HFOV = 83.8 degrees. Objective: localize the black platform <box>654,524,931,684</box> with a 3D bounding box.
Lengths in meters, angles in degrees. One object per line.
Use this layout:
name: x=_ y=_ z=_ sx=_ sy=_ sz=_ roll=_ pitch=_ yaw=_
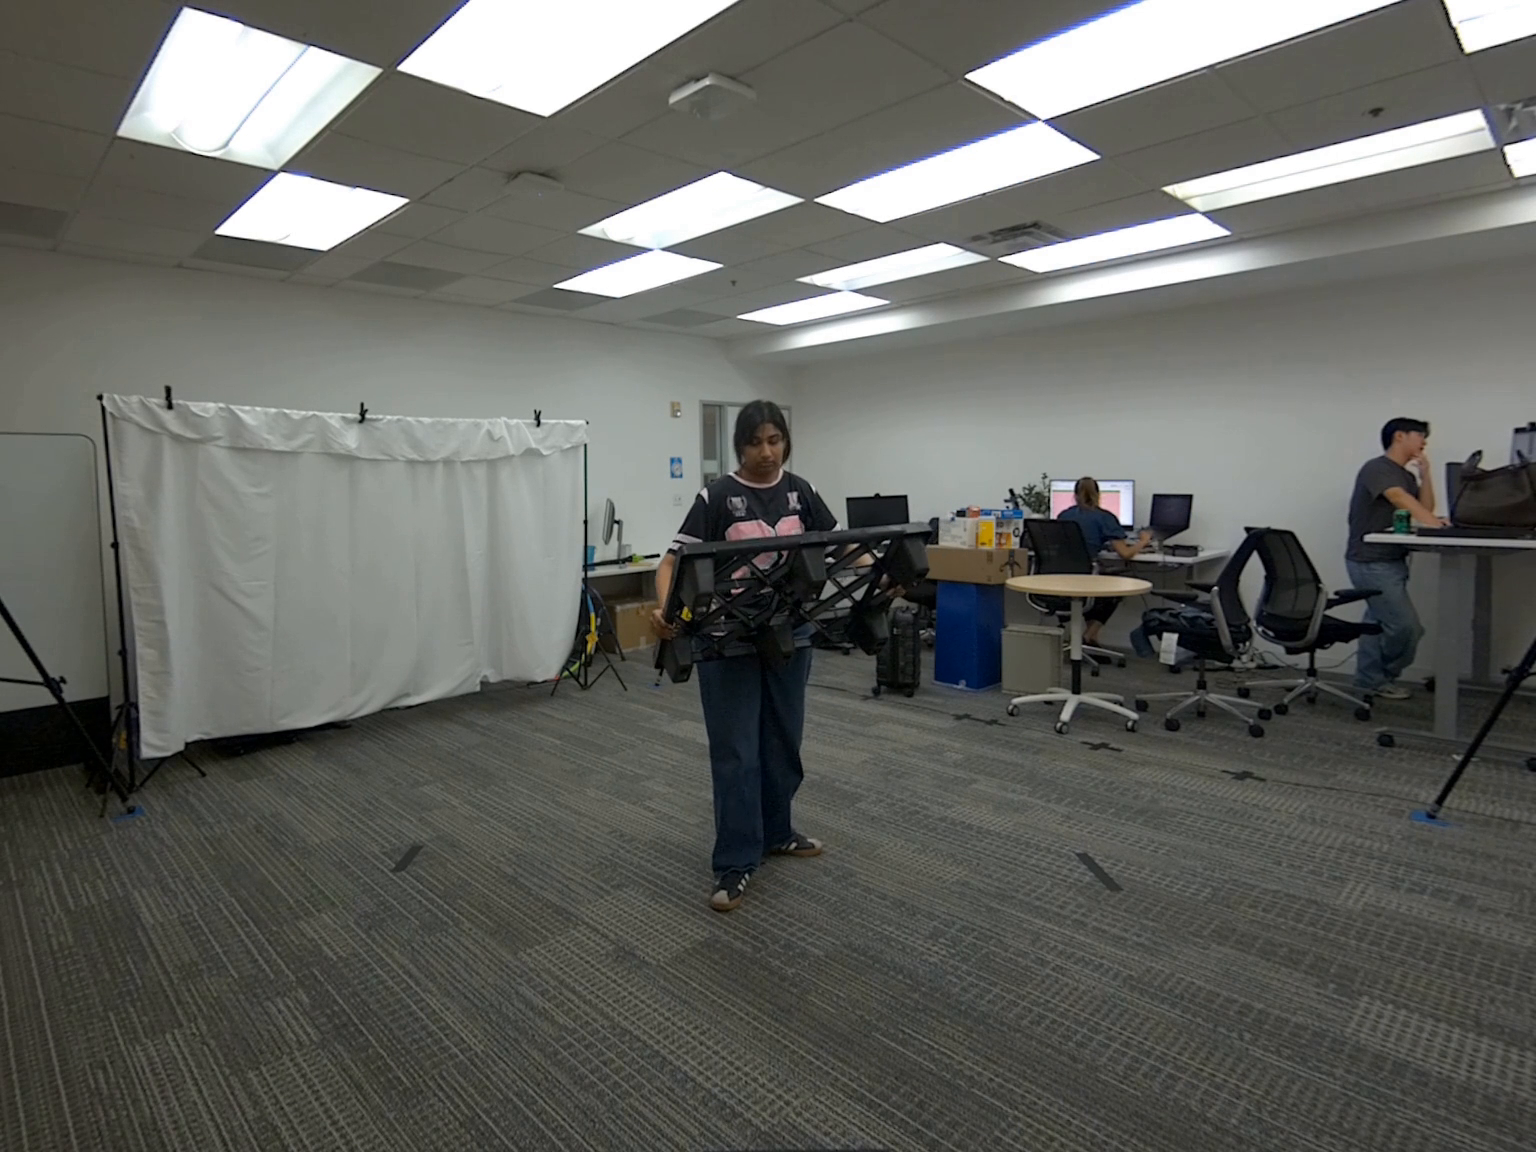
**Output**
black platform: x=0.077 y=0.113 z=2.651 sx=0.793 sy=0.148 sz=0.594 roll=-6 pitch=-38 yaw=-19
